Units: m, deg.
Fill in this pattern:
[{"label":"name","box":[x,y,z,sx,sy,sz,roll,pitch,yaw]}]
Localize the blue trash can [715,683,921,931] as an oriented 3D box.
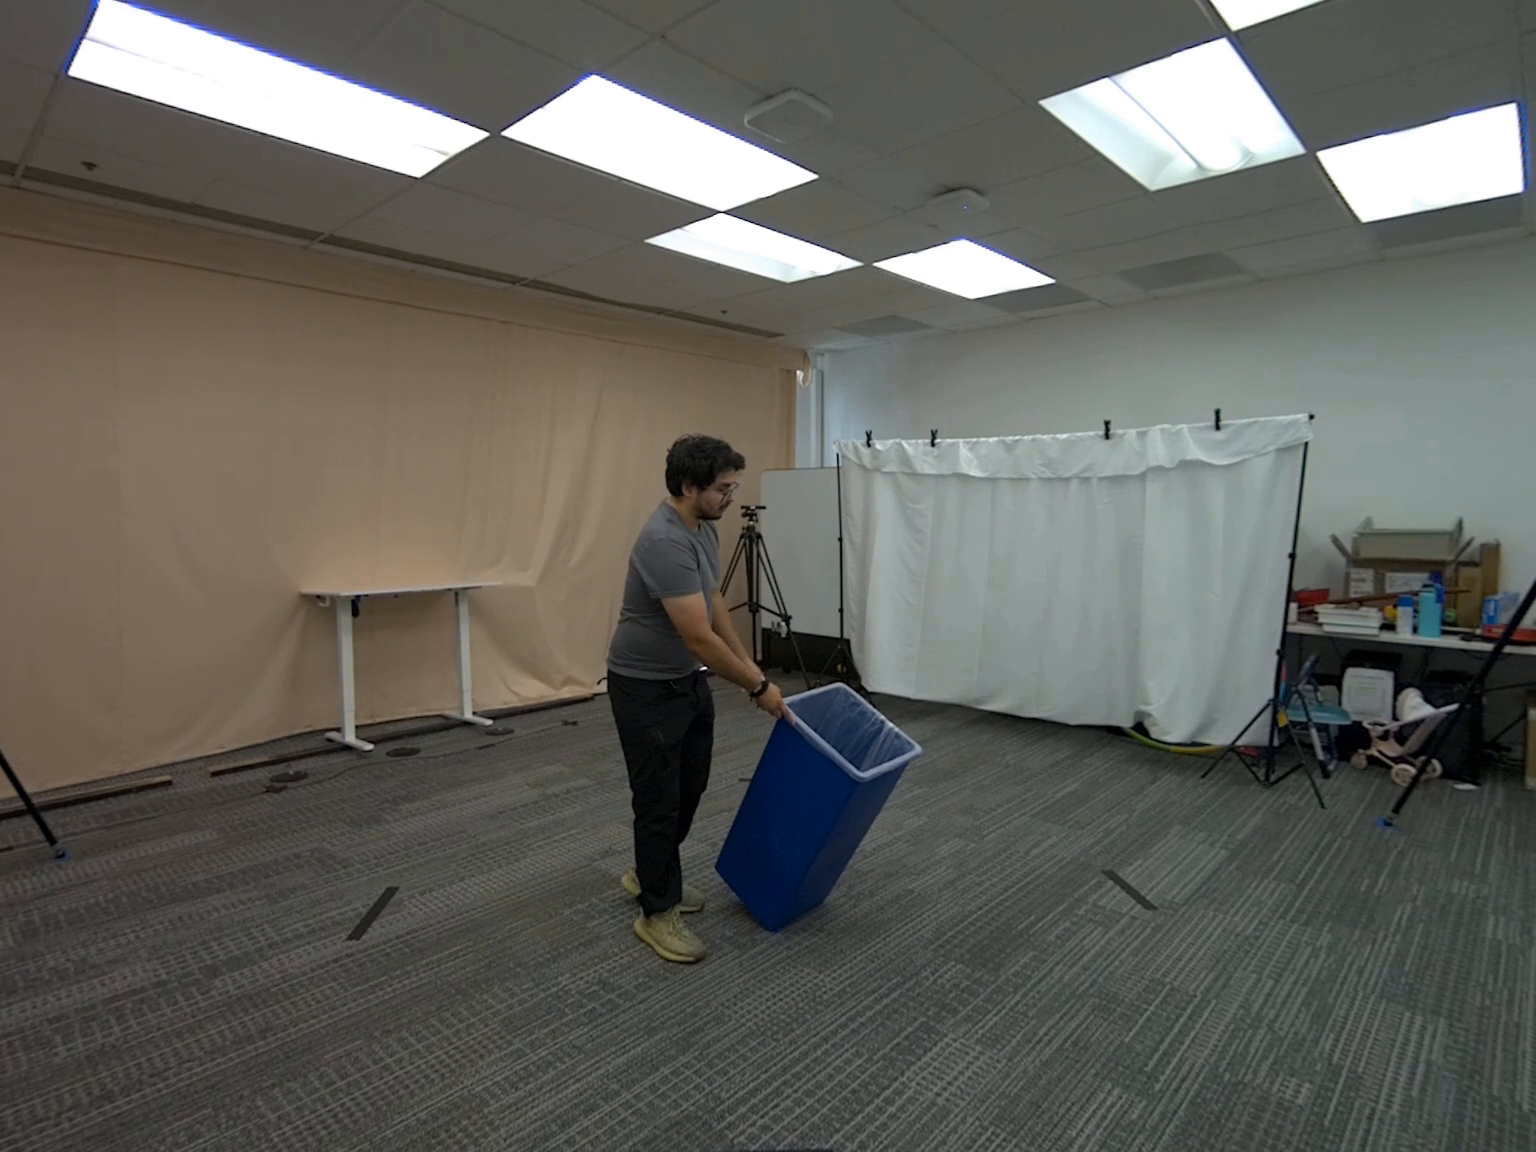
[{"label":"blue trash can","box":[0.132,0.771,2.794,0.387,0.711,0.367,38,27,32]}]
